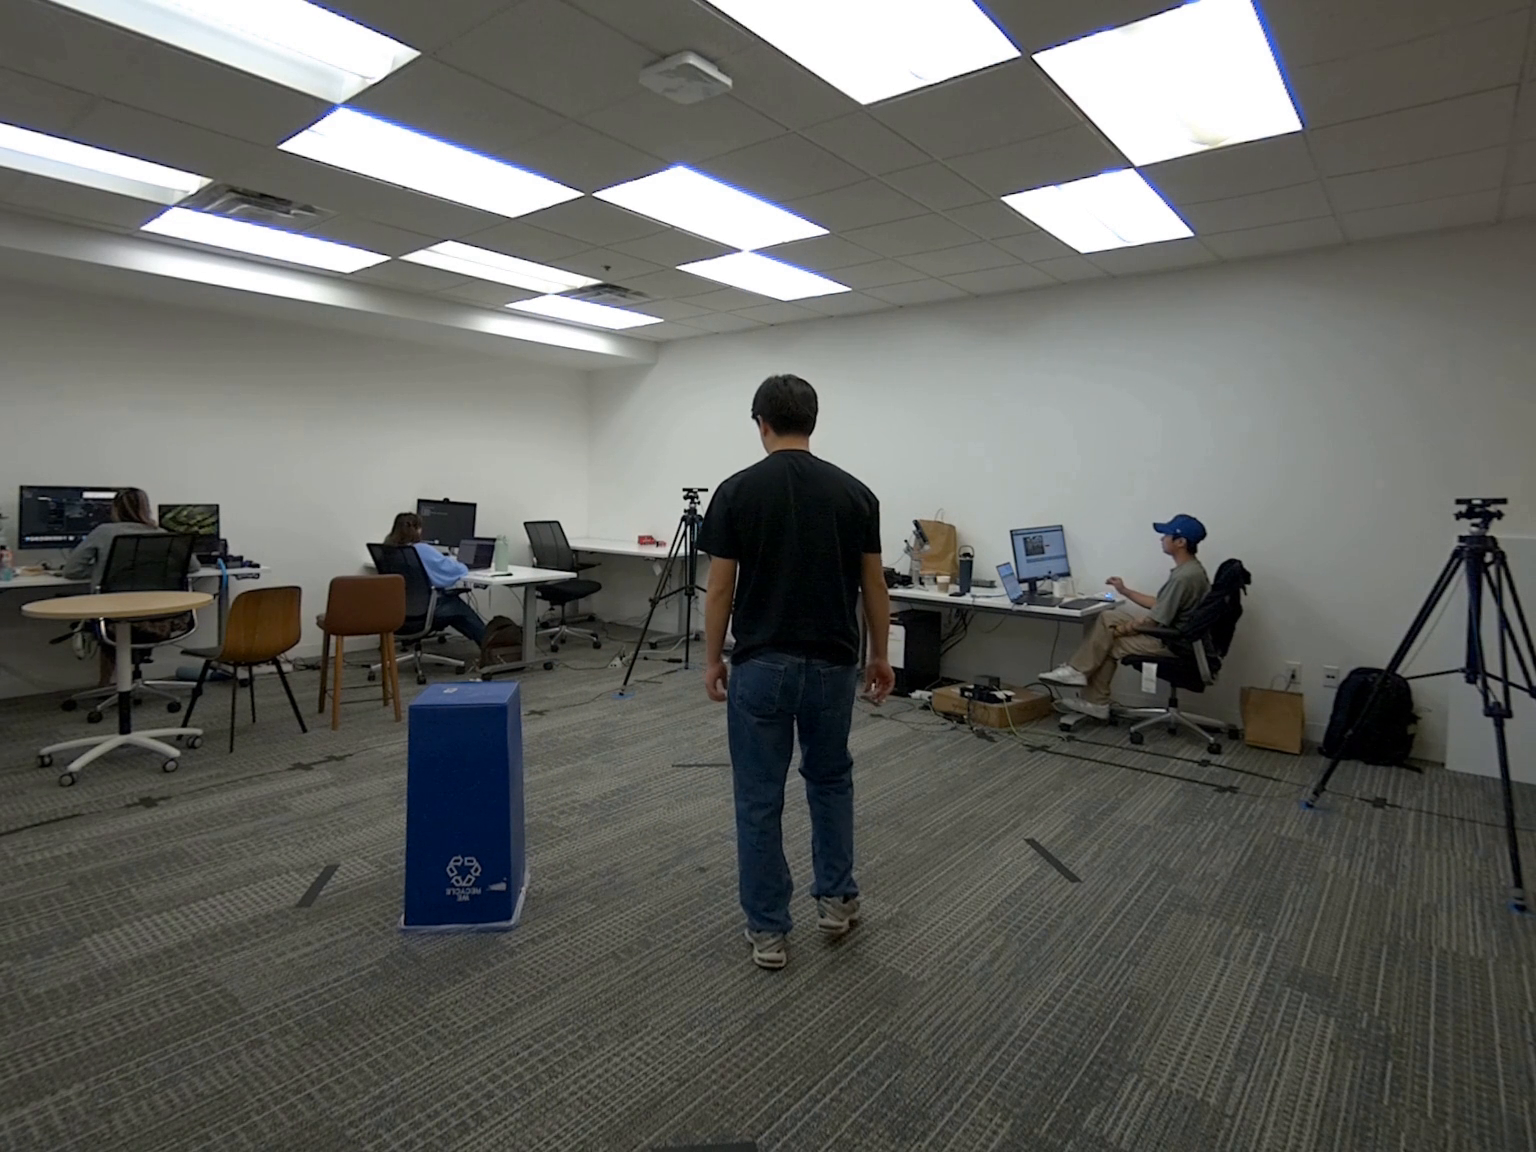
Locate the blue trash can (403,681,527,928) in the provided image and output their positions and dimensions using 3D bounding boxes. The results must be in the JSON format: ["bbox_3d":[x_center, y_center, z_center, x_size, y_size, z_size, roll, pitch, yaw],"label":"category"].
[{"bbox_3d":[-1.011,0.737,2.807,0.372,0.711,0.382,-1,3,-7],"label":"blue trash can"}]
